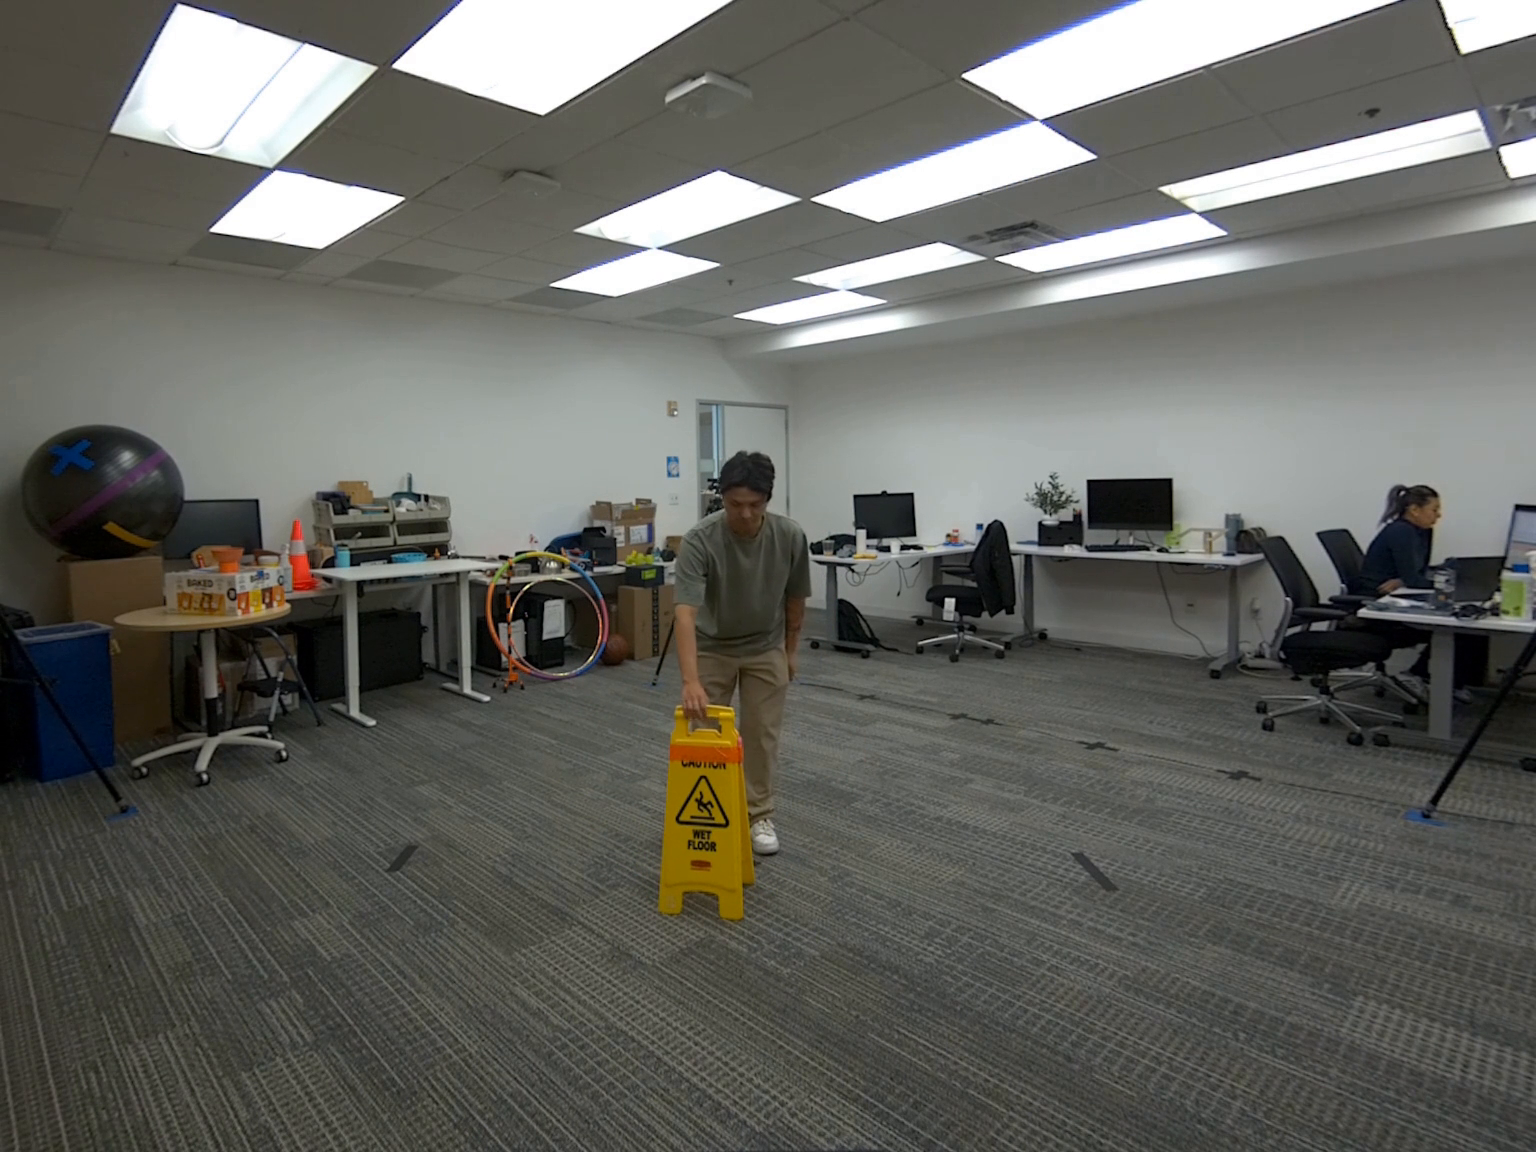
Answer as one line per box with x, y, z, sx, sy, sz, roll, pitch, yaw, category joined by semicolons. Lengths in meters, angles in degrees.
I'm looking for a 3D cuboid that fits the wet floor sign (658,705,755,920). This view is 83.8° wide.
-0.198;0.763;2.832;0.285;0.643;0.288;0;5;9;wet floor sign
